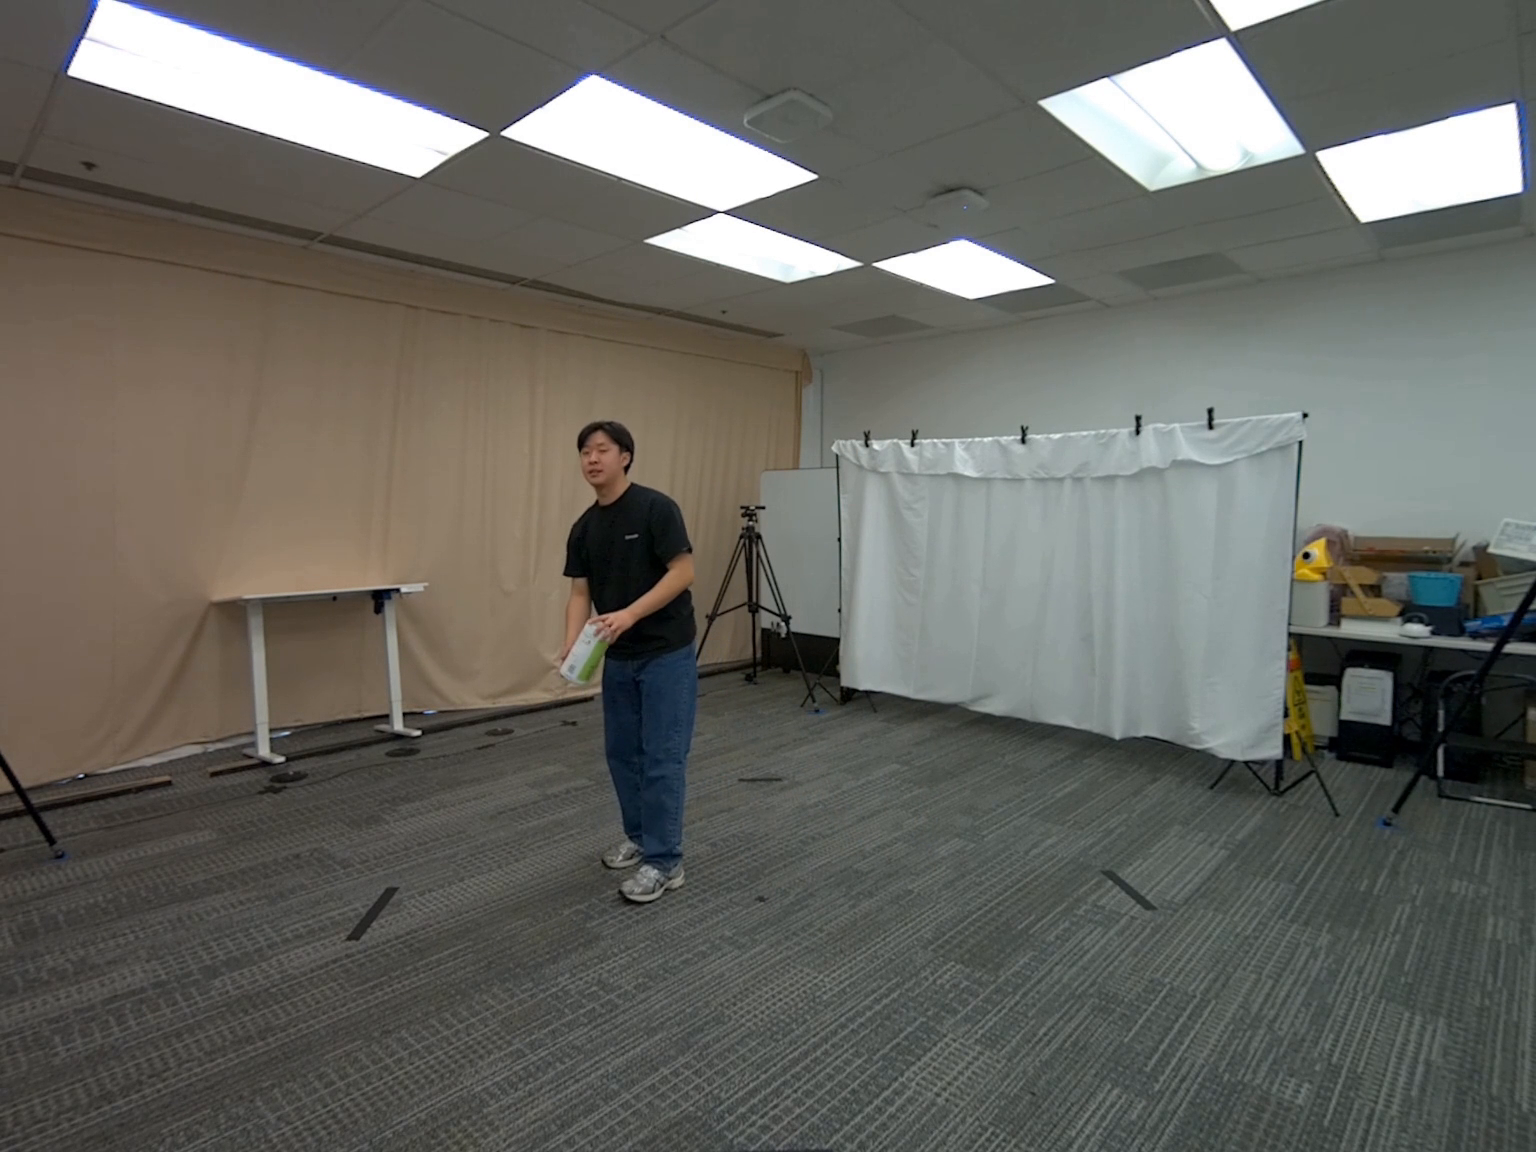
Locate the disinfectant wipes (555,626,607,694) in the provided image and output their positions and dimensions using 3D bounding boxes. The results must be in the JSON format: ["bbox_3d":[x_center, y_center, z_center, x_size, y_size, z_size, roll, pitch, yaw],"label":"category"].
[{"bbox_3d":[-0.636,0.272,2.953,0.117,0.217,0.118,24,5,-4],"label":"disinfectant wipes"}]
